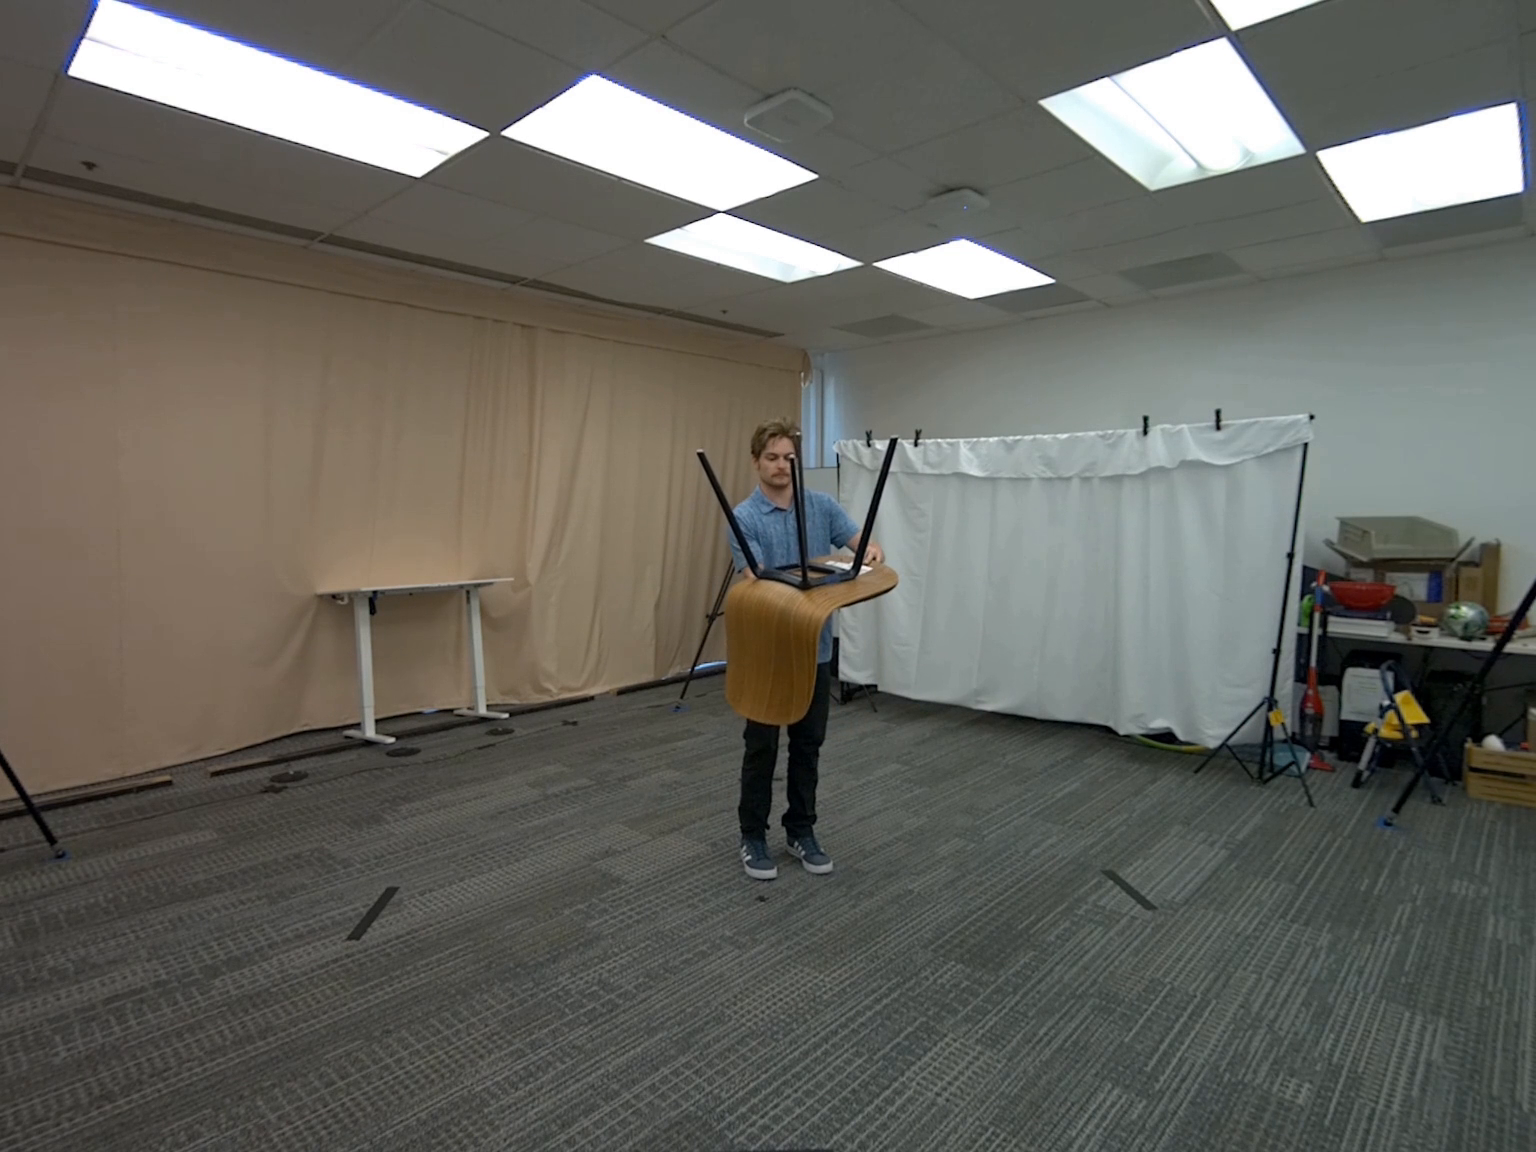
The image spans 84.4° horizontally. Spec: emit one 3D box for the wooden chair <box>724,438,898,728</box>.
[{"bbox_3d":[0.128,-0.004,2.771,0.509,0.871,0.495,-11,14,-39],"label":"wooden chair"}]
